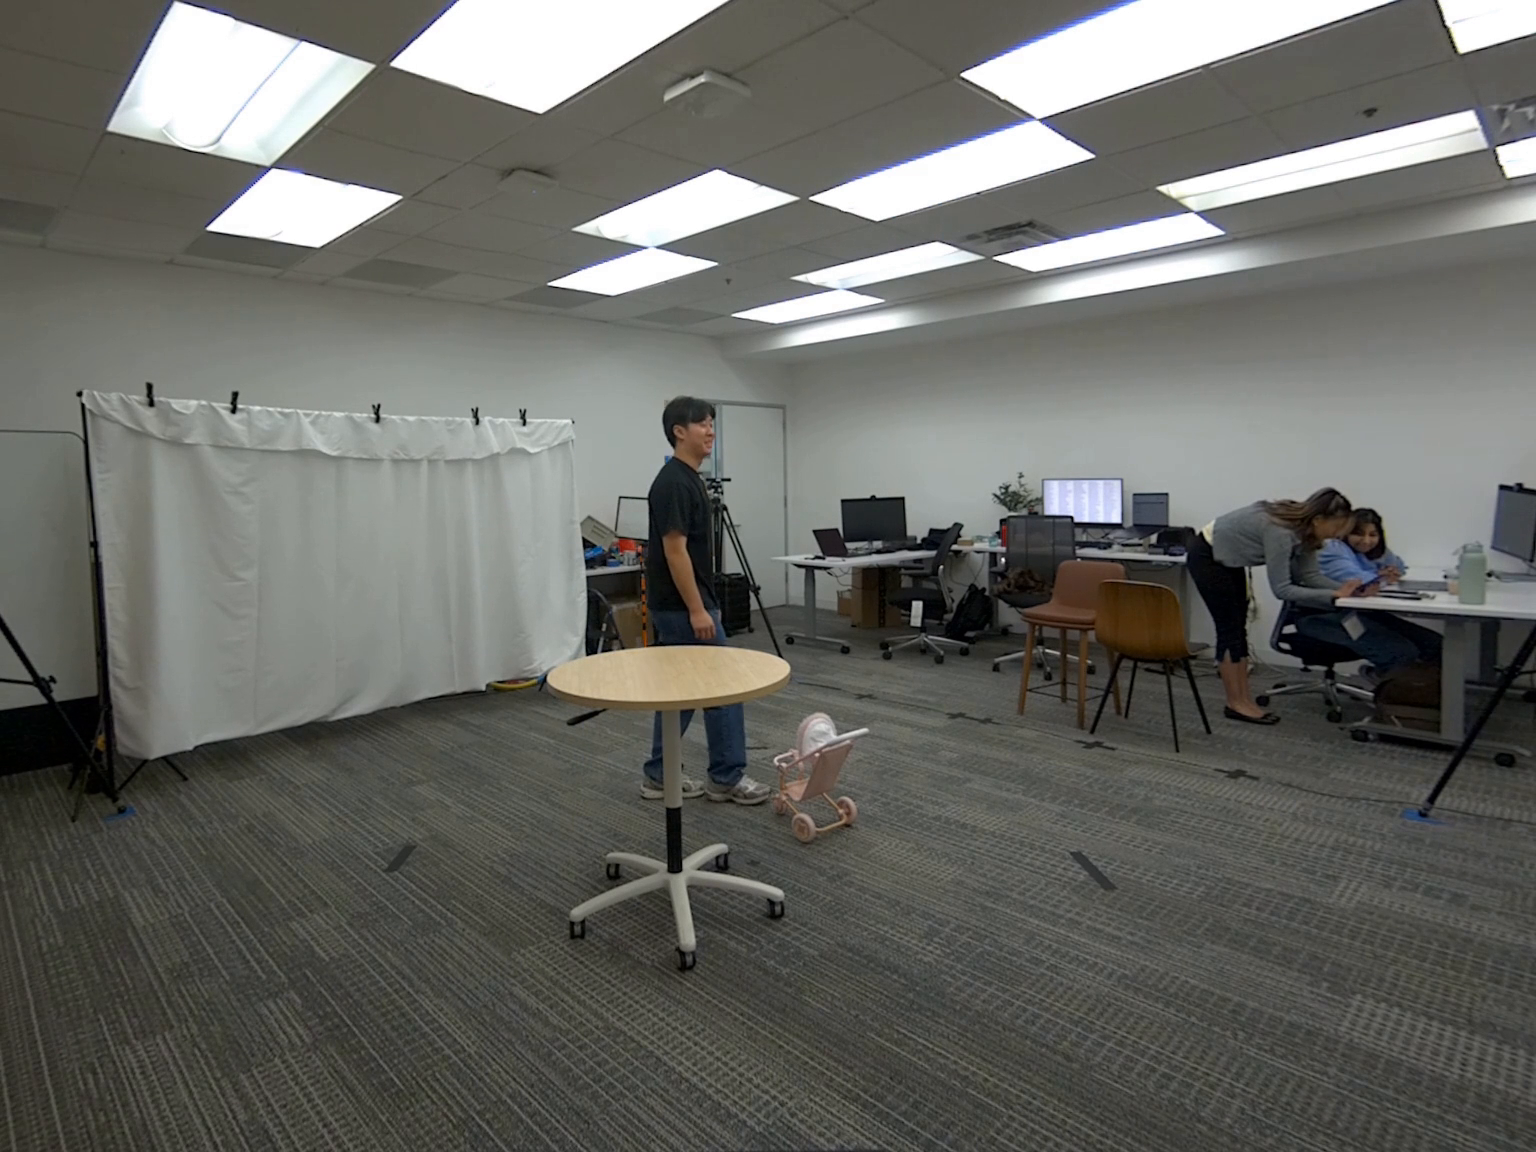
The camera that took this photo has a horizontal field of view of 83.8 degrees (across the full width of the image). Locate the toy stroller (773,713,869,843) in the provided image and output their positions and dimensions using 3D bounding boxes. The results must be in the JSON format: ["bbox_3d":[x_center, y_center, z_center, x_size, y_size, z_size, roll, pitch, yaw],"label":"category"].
[{"bbox_3d":[0.186,0.780,3.398,0.274,0.528,0.354,-4,21,-38],"label":"toy stroller"}]
